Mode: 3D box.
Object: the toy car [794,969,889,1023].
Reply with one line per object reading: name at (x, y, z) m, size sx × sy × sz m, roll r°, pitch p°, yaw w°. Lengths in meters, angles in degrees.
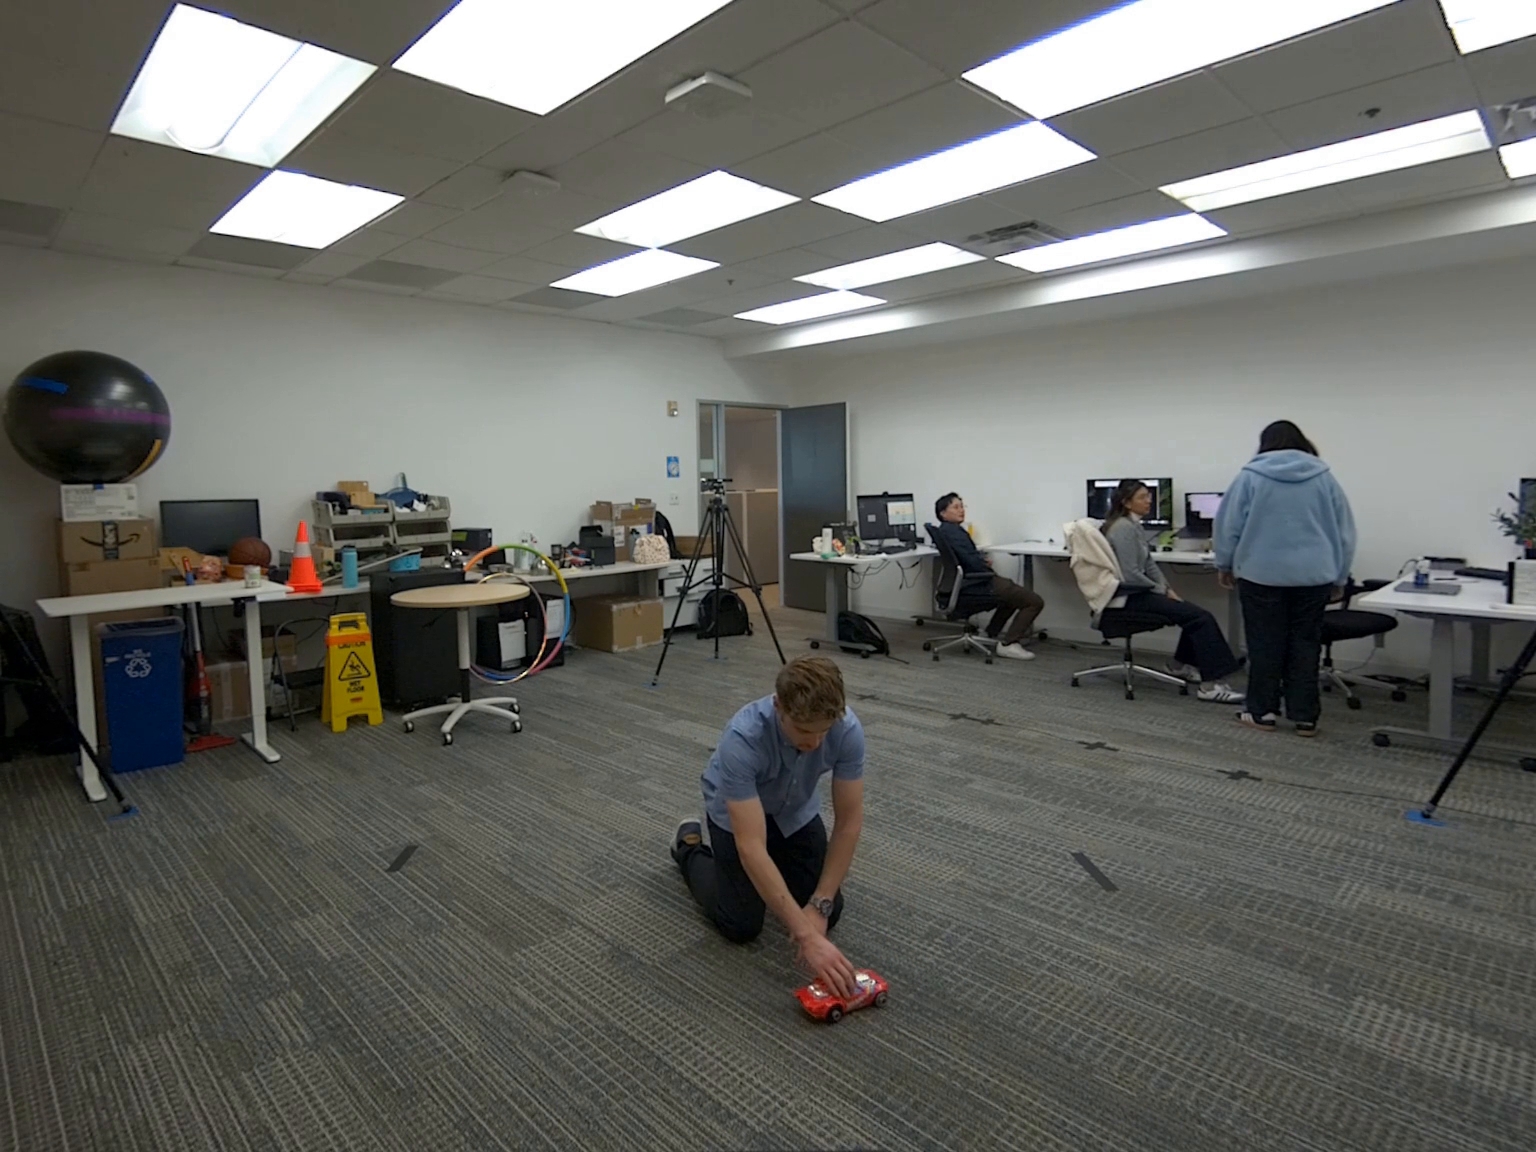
toy car at (0.190, 1.112, 2.258) m, size 0.248 × 0.083 × 0.134 m, roll 8°, pitch 2°, yaw -27°
